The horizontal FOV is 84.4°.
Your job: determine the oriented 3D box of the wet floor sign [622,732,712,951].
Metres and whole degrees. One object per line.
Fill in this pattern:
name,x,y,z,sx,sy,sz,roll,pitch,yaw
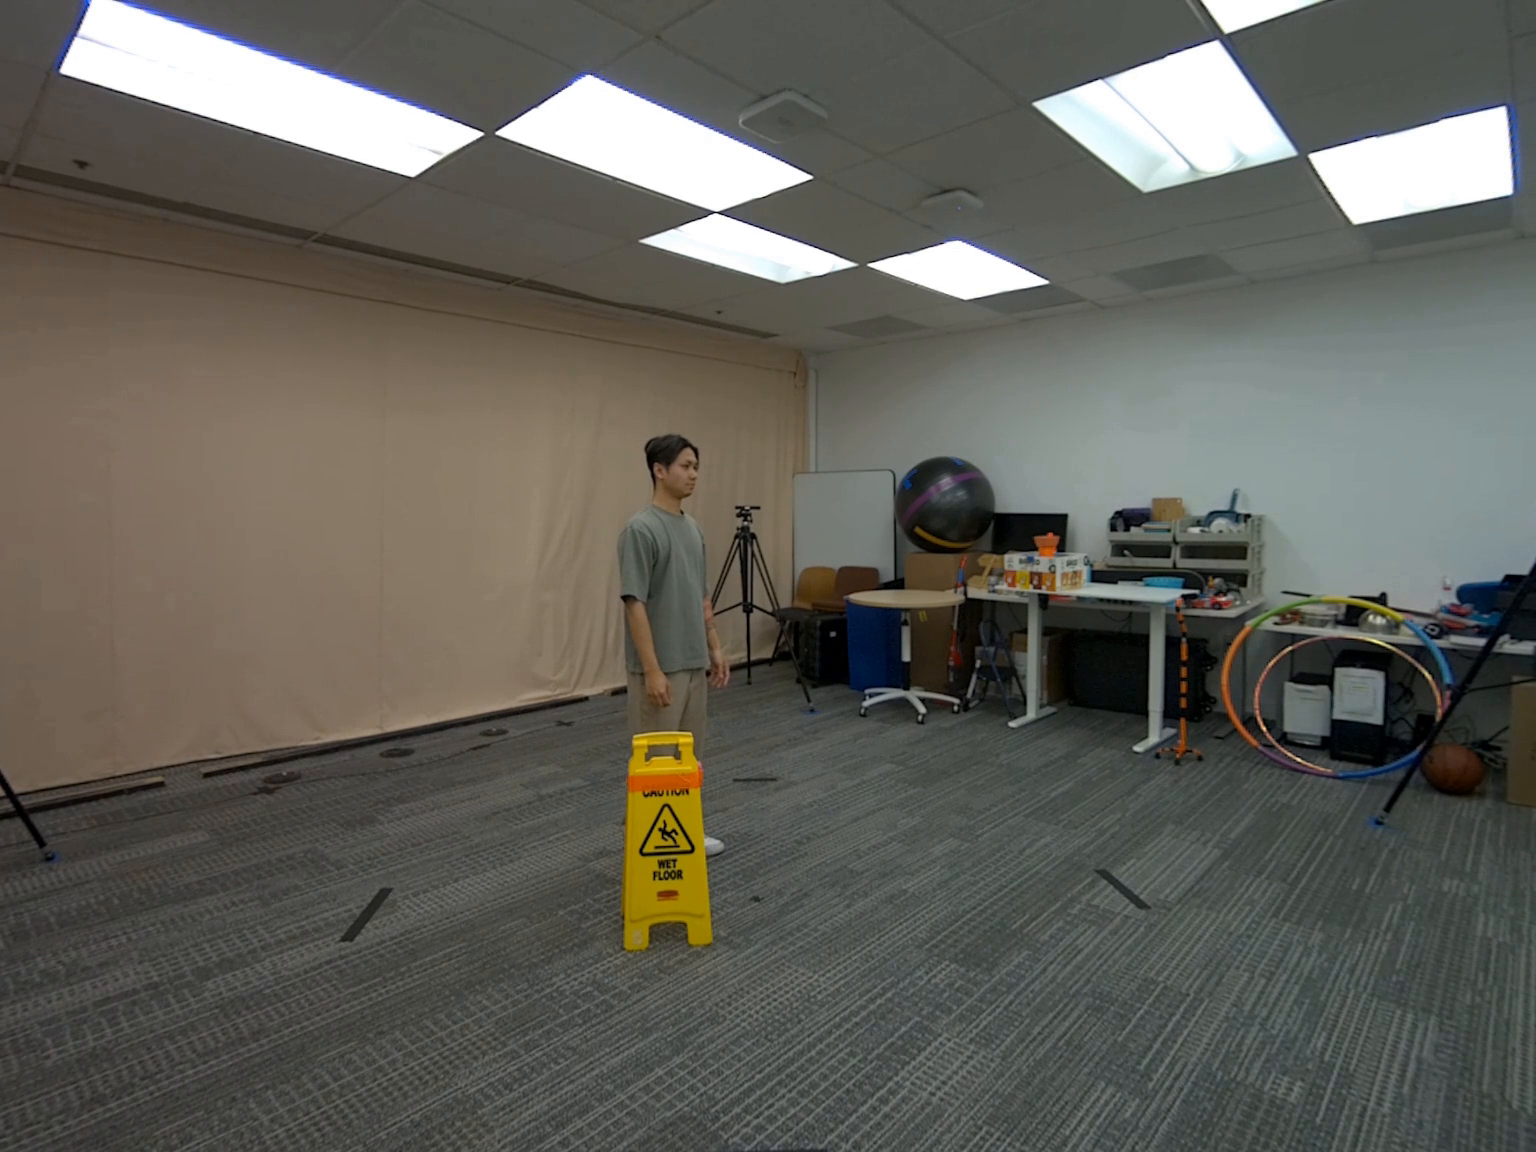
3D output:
wet floor sign,-0.348,0.839,2.756,0.280,0.644,0.293,-3,5,-9
